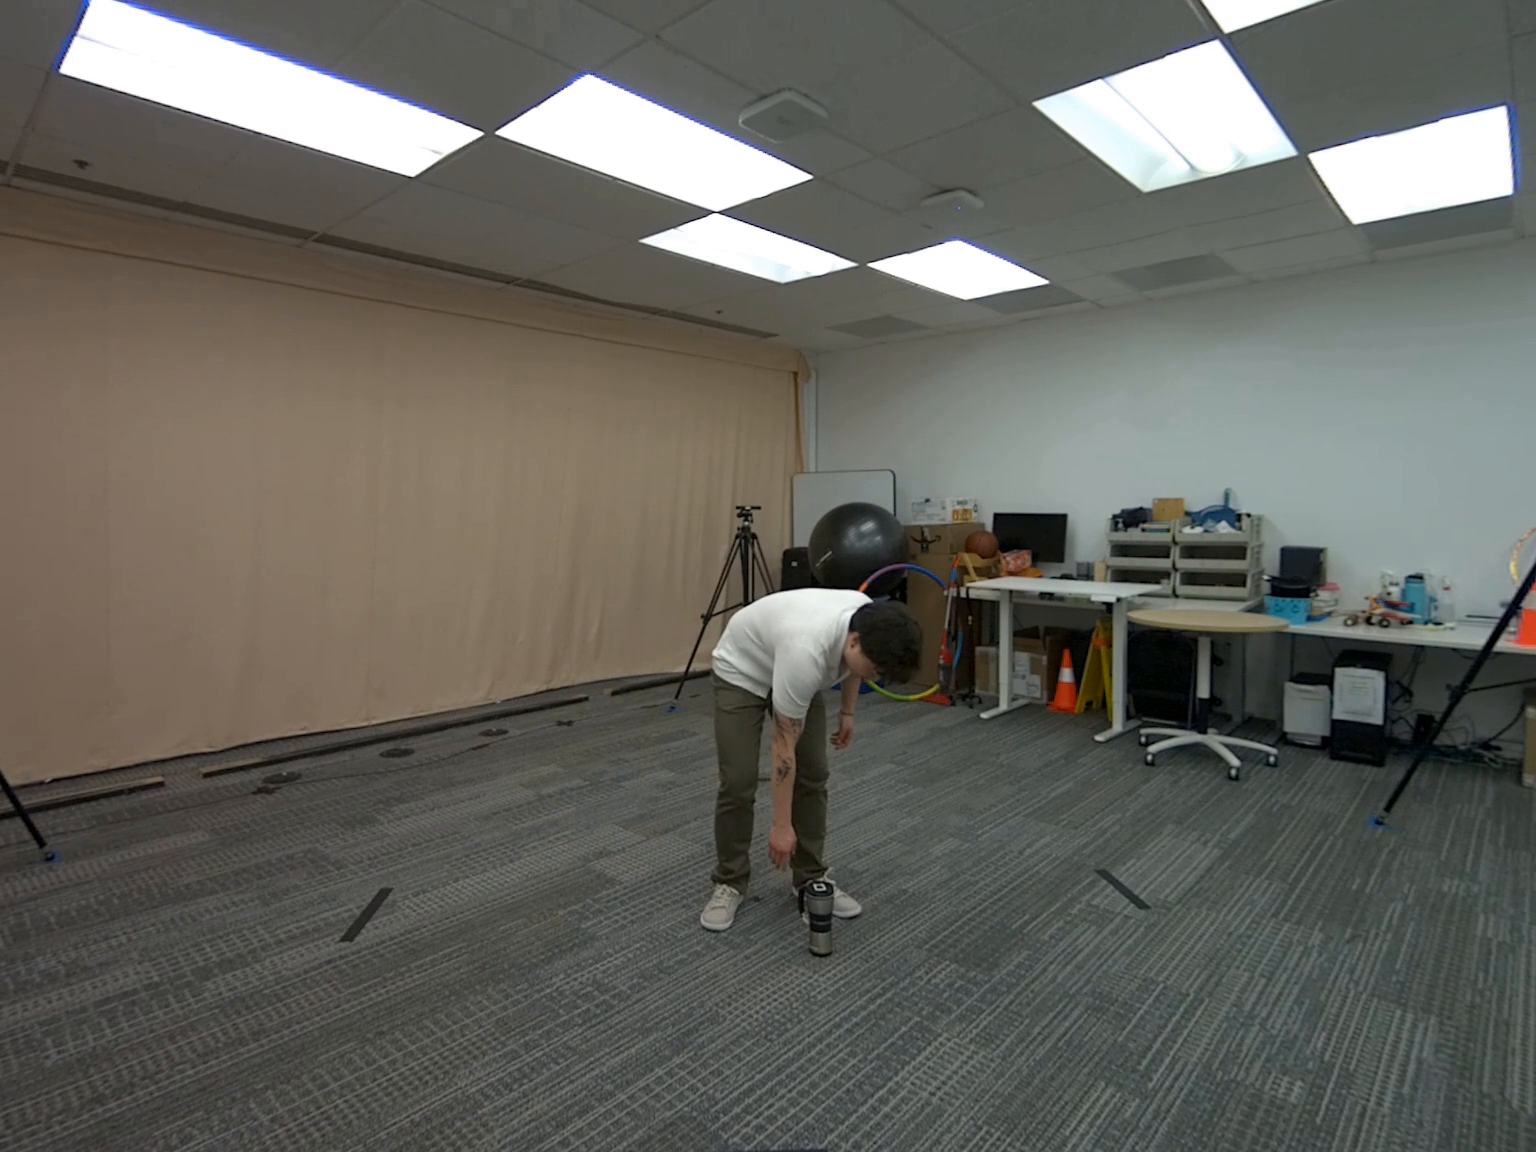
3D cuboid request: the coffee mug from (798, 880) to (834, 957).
[{"bbox_3d":[0.157,1.067,2.649,0.086,0.202,0.125,-4,7,-27],"label":"coffee mug"}]
